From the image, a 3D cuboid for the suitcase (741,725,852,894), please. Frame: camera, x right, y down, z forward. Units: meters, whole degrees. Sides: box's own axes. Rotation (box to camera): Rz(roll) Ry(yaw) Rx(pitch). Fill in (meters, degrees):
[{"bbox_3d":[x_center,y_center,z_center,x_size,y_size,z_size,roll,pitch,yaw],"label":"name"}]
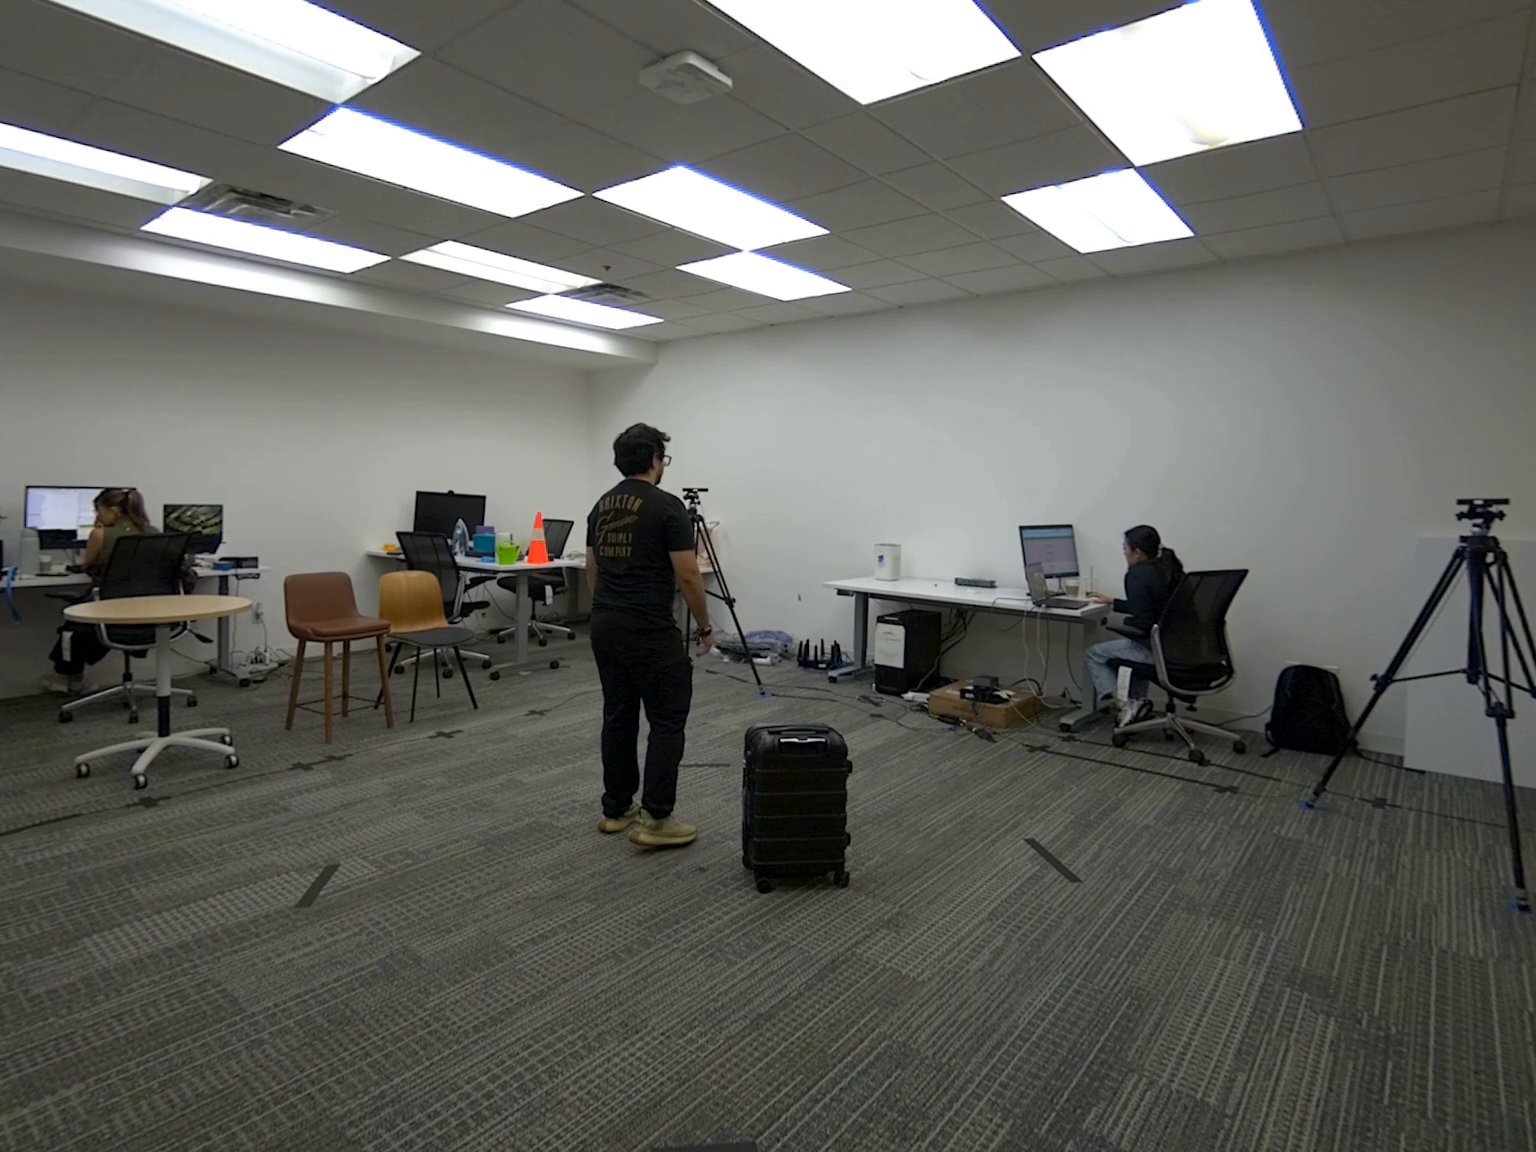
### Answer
[{"bbox_3d":[0.089,0.804,3.053,0.372,0.548,0.251,0,3,-9],"label":"suitcase"}]
